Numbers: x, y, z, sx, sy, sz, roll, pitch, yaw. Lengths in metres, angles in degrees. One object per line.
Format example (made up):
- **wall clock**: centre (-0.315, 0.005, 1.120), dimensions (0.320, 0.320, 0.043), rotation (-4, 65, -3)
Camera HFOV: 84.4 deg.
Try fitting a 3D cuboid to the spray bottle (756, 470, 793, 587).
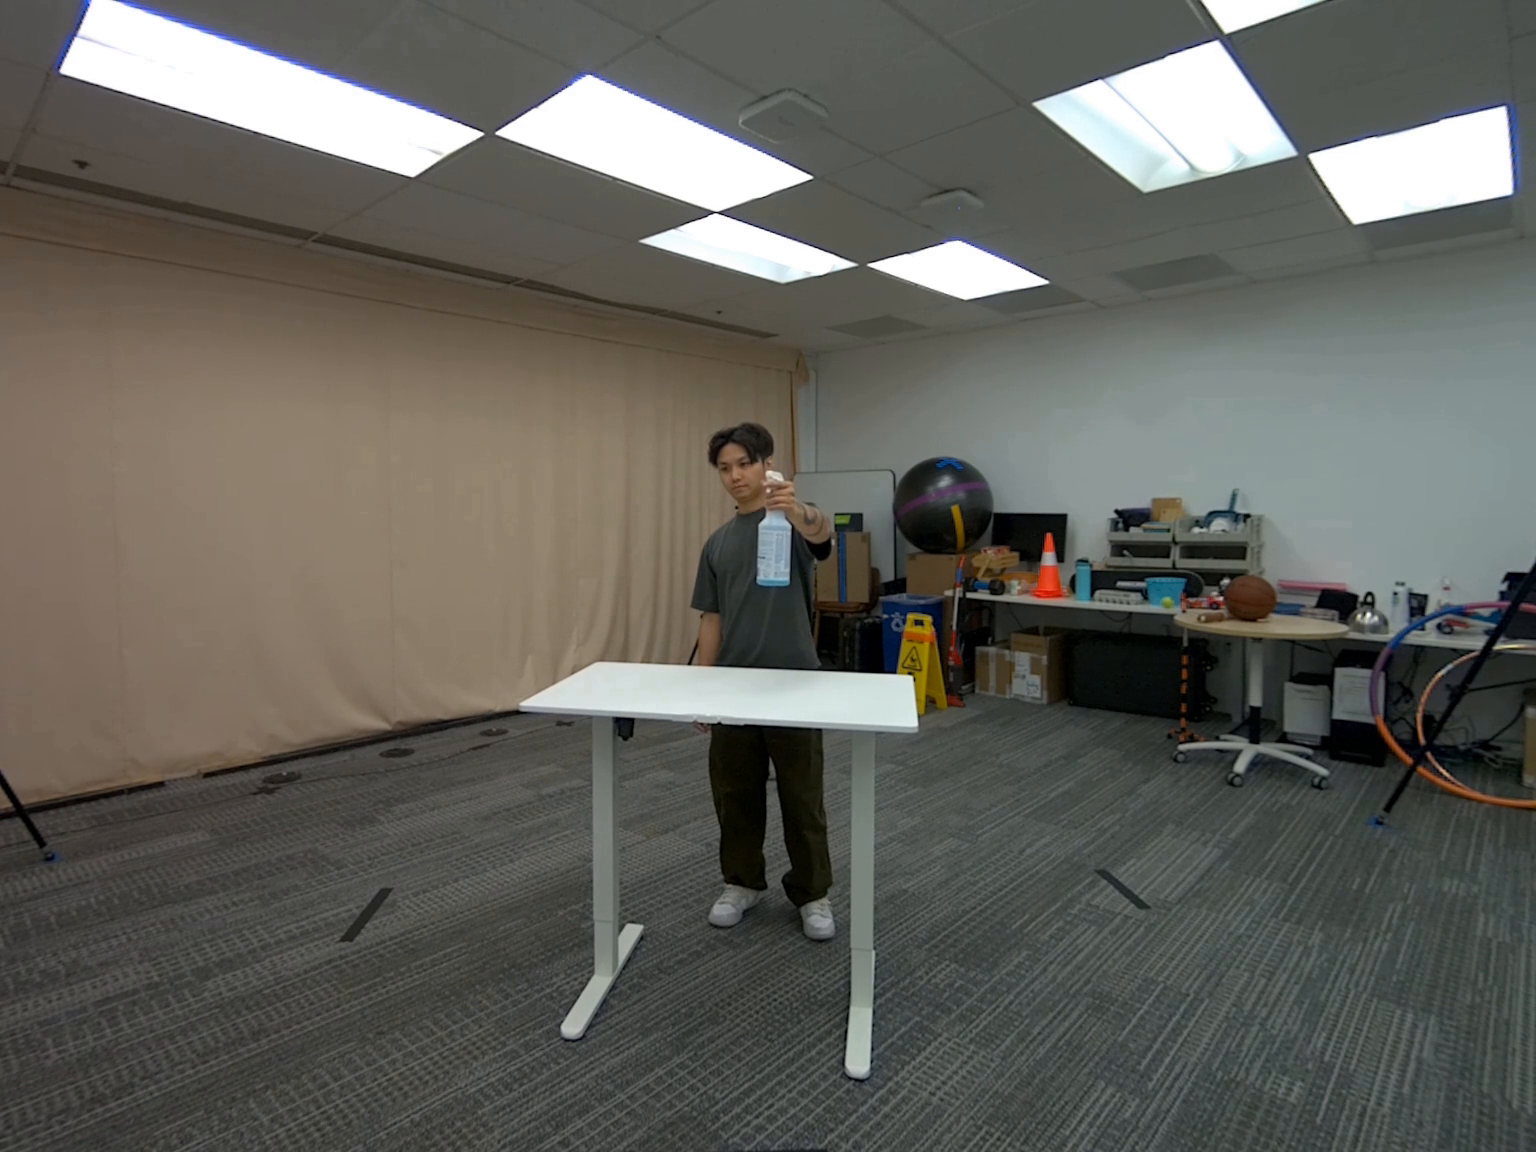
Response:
- **spray bottle**: centre (0.014, -0.120, 2.215), dimensions (0.087, 0.297, 0.090), rotation (-1, 2, -38)
